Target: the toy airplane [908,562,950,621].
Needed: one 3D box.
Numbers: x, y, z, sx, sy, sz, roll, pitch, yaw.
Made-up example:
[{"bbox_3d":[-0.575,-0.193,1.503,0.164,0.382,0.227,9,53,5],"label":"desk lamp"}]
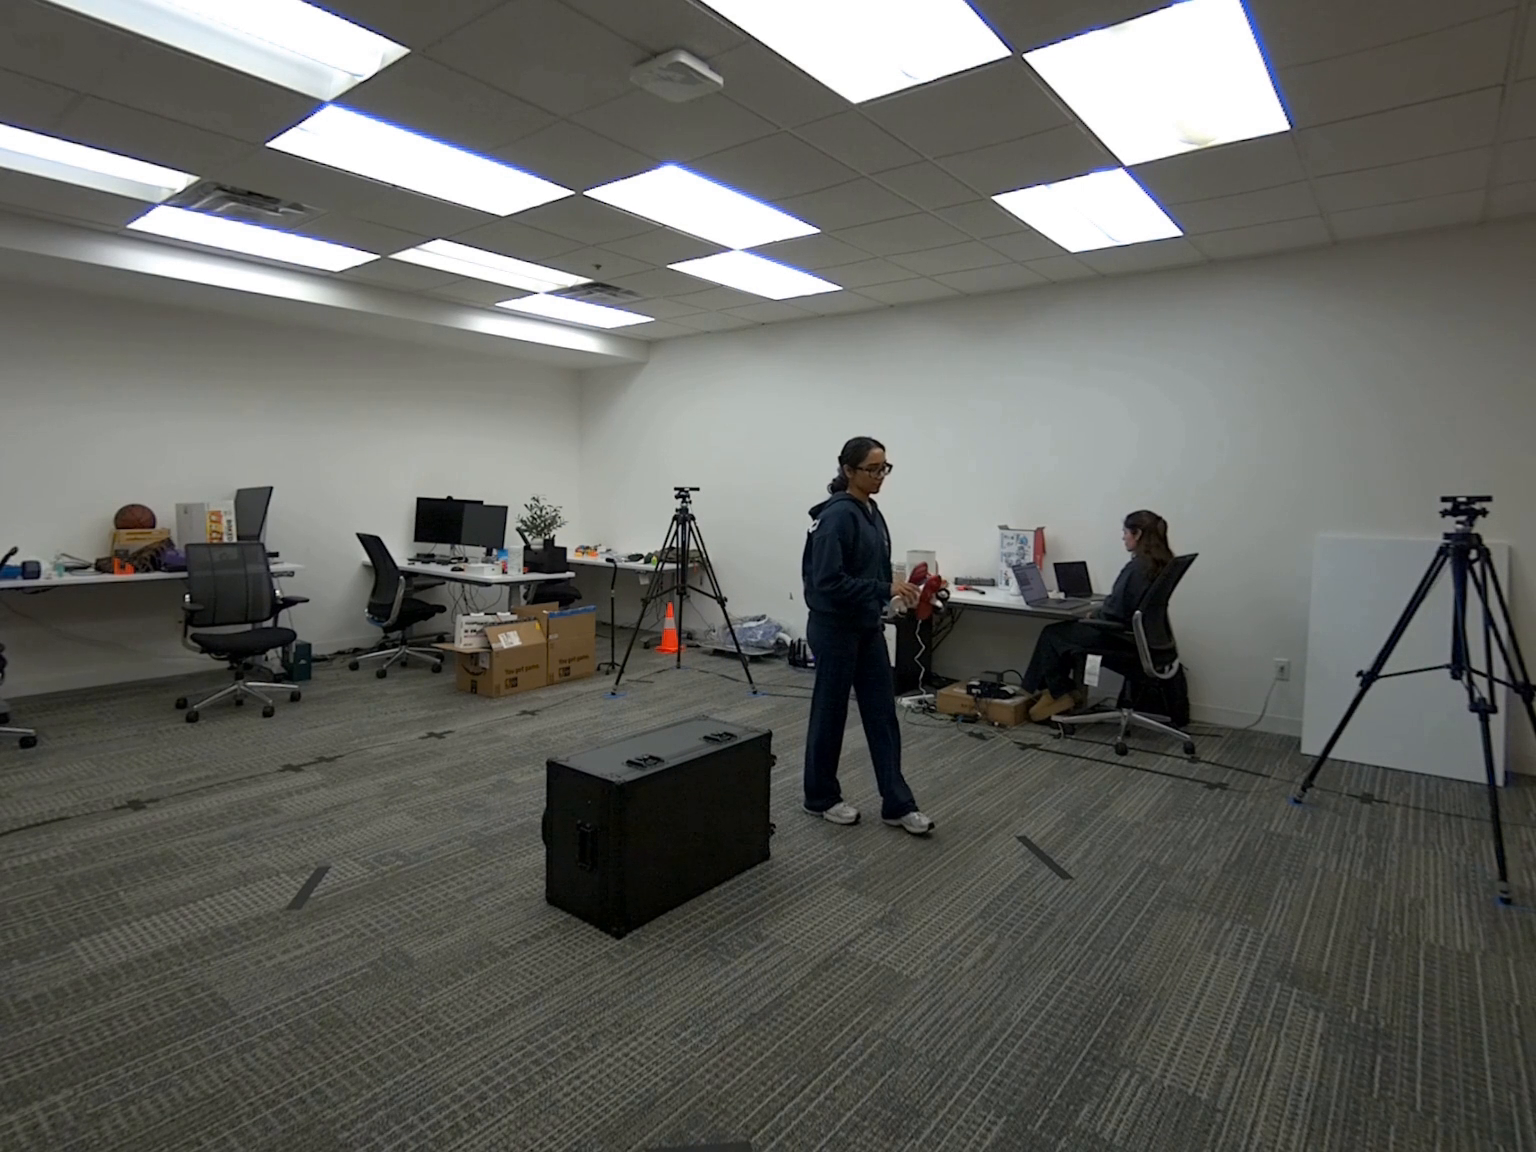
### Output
[{"bbox_3d":[0.589,0.067,3.379,0.251,0.249,0.162,8,40,-30],"label":"toy airplane"}]
